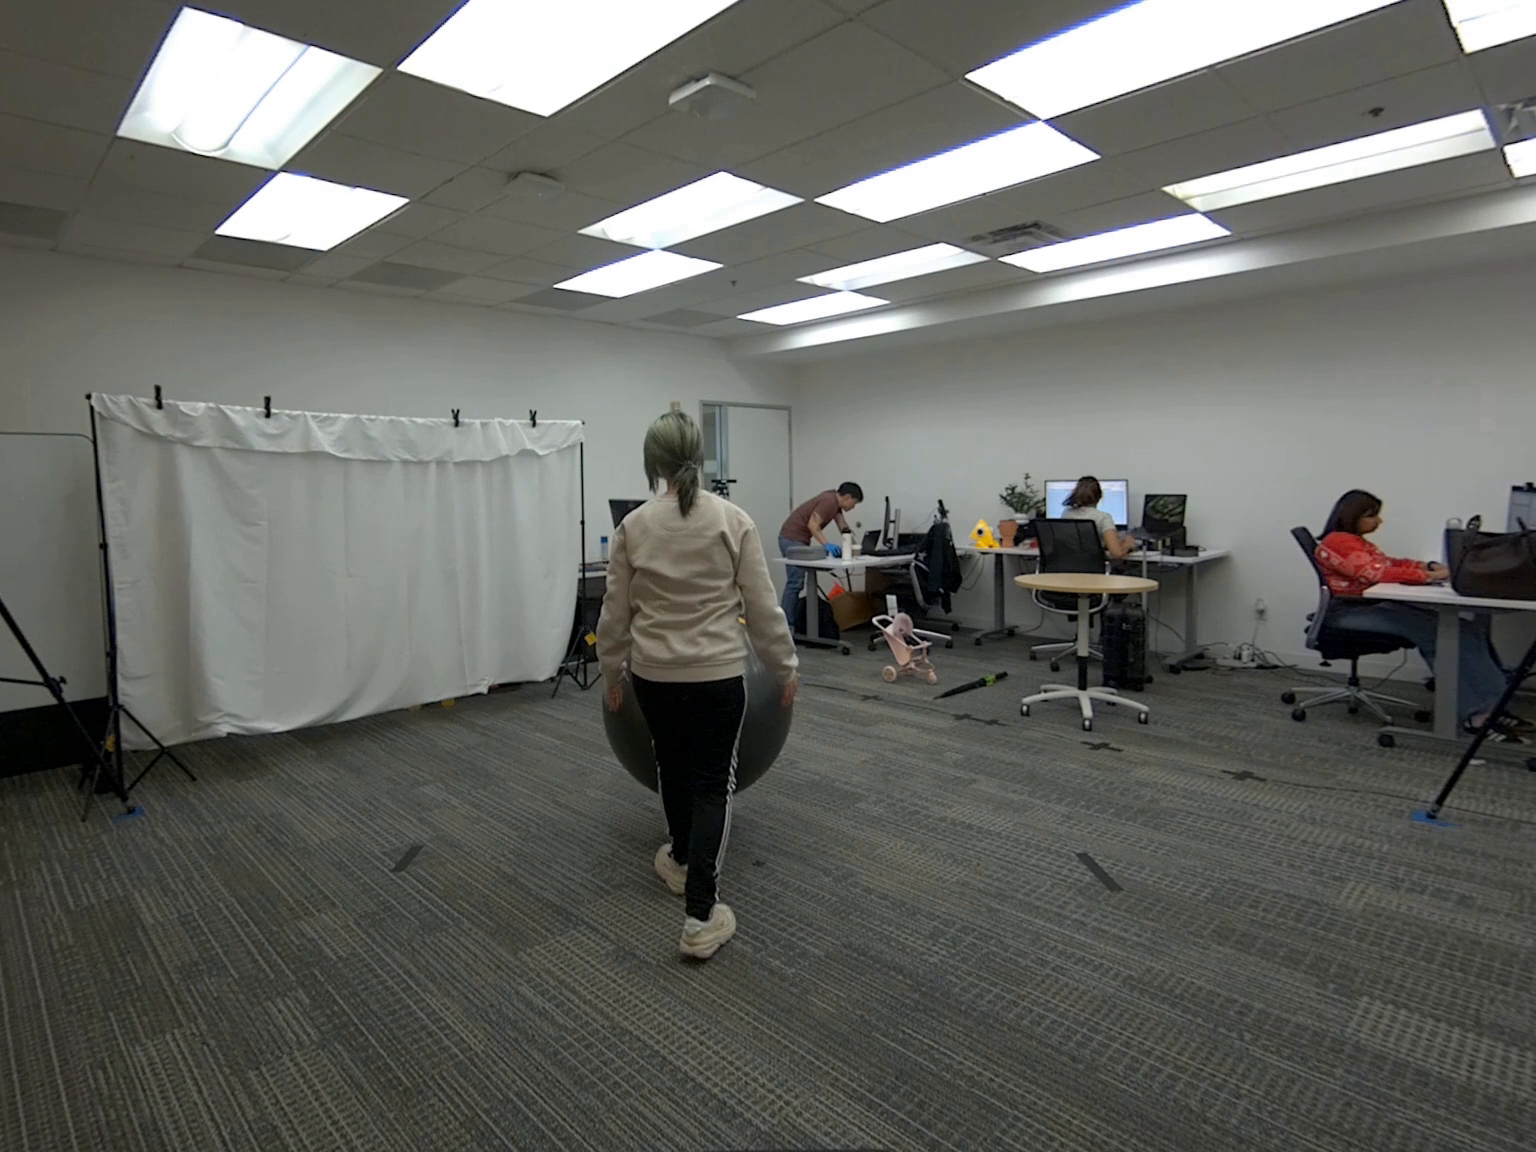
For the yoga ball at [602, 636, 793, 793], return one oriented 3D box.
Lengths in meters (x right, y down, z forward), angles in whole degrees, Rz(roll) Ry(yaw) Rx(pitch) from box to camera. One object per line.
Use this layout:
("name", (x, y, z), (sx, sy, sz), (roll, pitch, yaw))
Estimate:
("yoga ball", (-0.274, 0.505, 3.403), (0.757, 0.755, 0.762), (-1, 5, -2))
